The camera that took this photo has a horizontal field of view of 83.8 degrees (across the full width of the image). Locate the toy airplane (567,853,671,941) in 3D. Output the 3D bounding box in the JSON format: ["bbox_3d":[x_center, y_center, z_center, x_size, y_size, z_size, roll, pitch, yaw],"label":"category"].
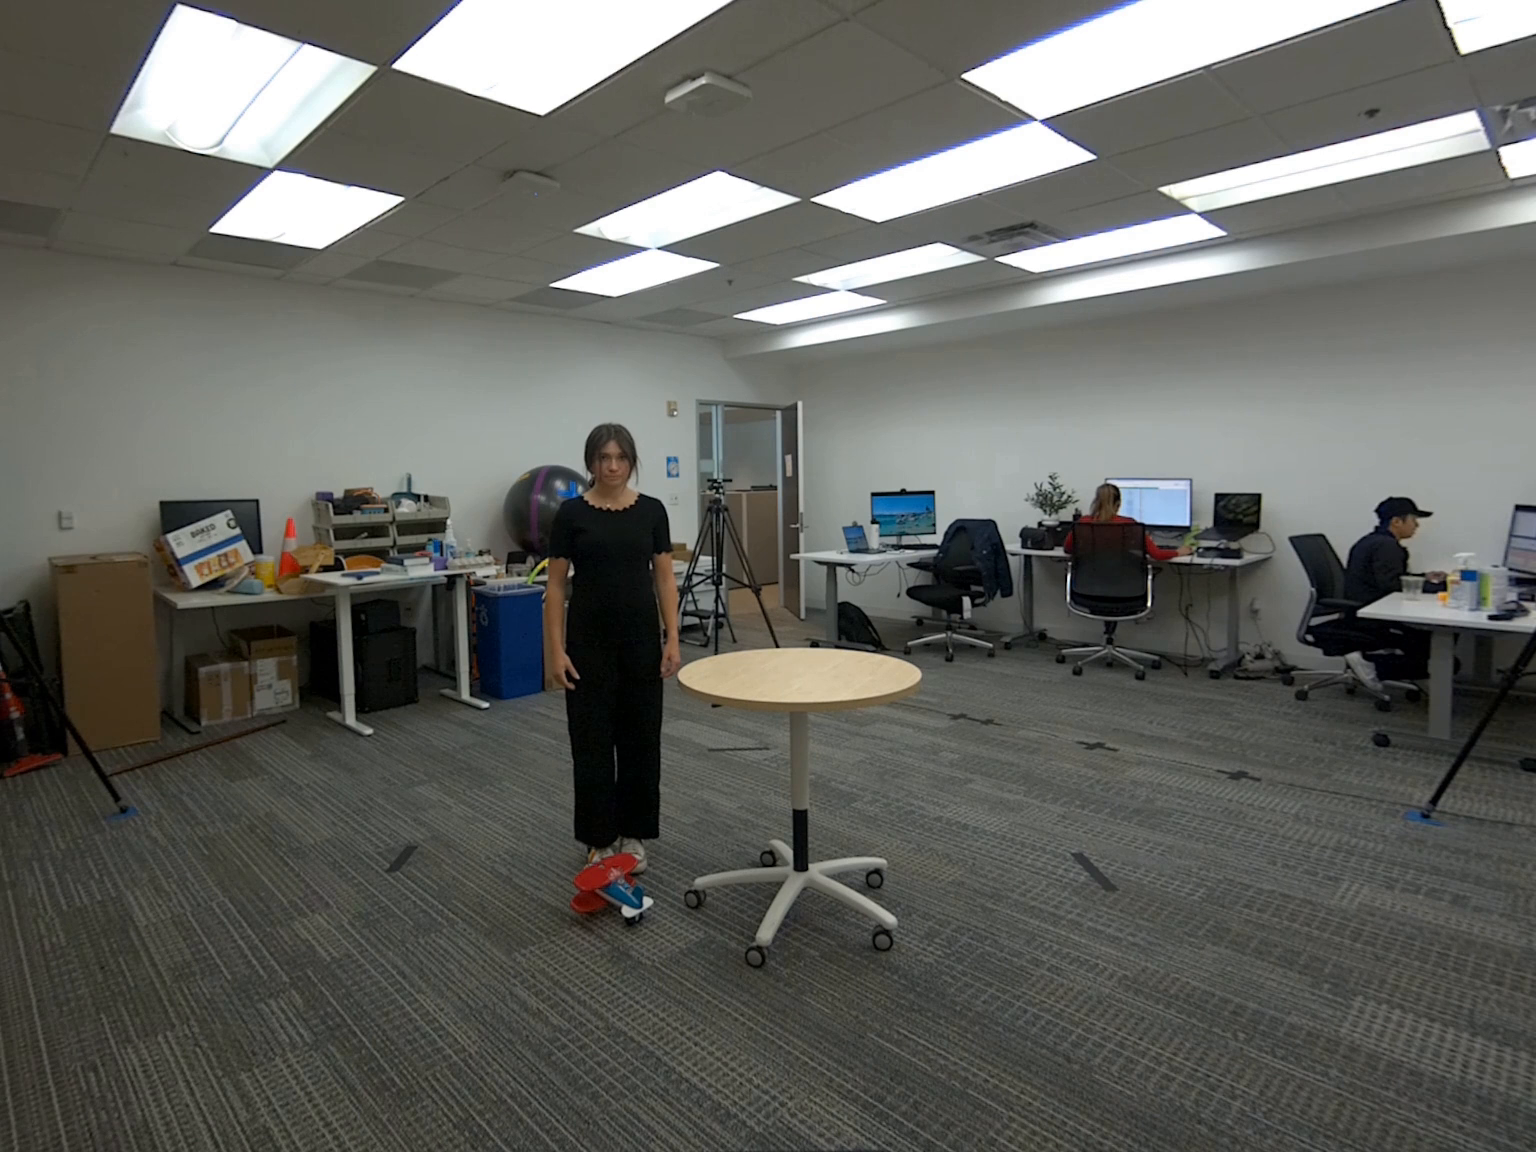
[{"bbox_3d":[-0.477,1.028,2.770,0.261,0.156,0.250,-2,6,9],"label":"toy airplane"}]
